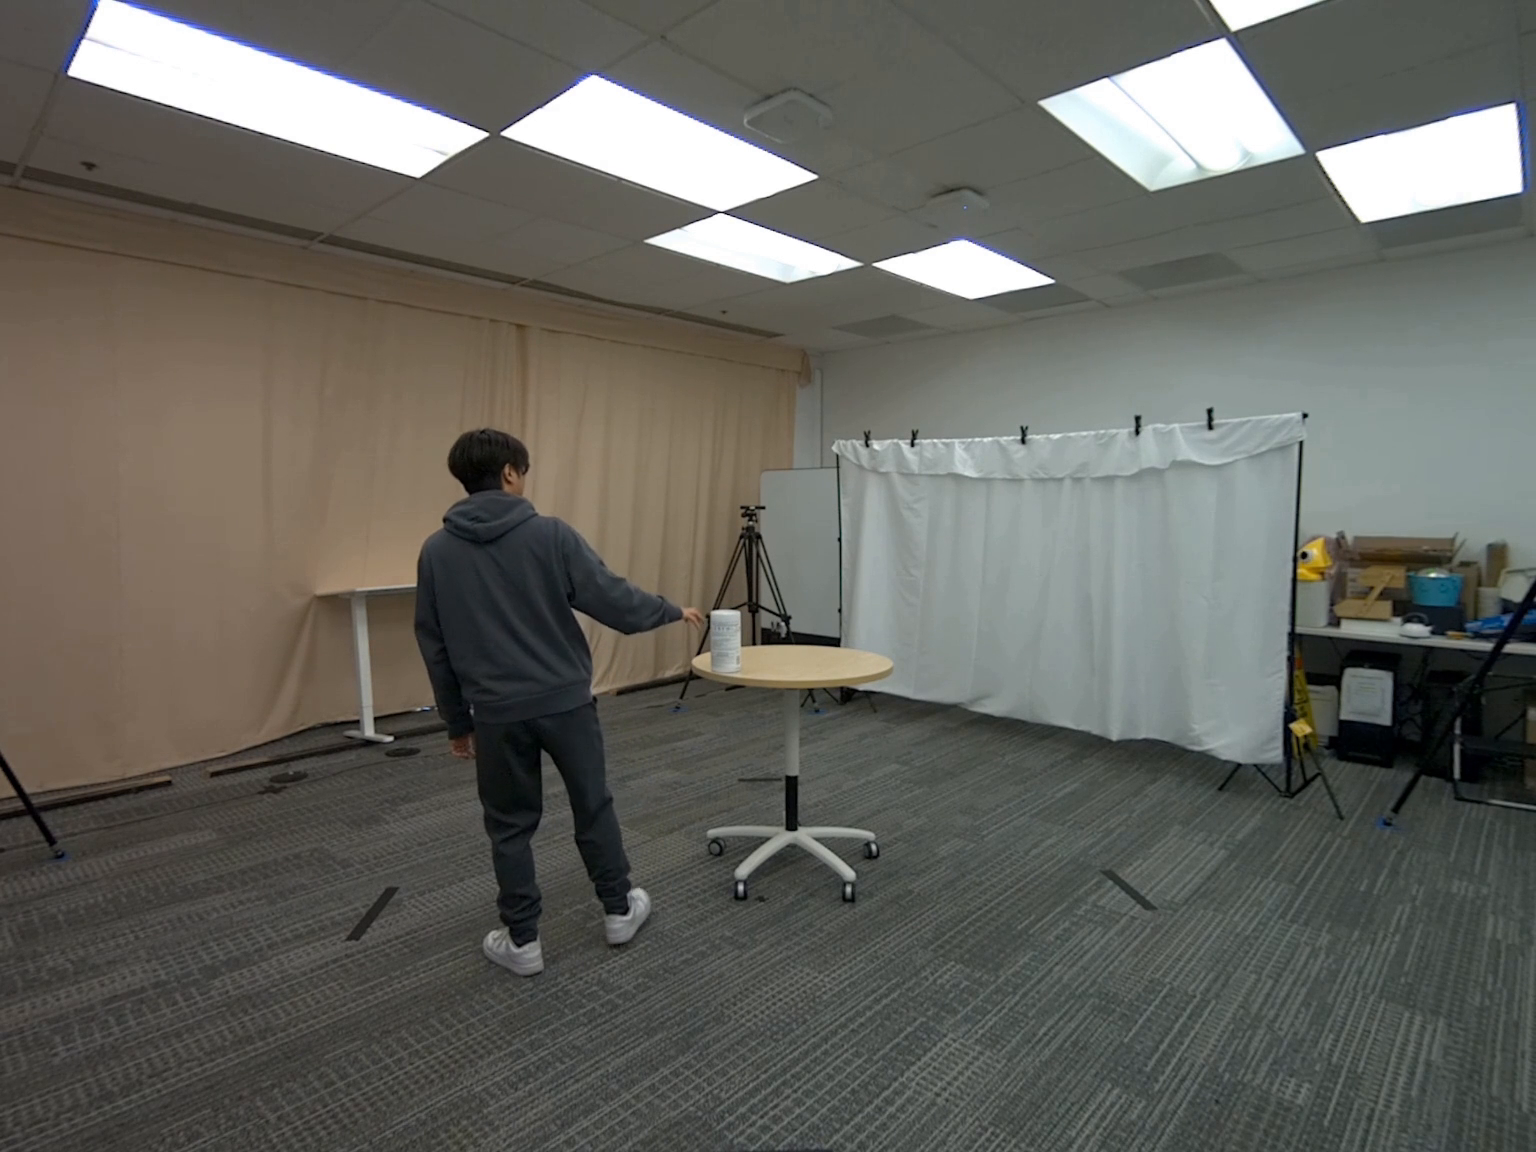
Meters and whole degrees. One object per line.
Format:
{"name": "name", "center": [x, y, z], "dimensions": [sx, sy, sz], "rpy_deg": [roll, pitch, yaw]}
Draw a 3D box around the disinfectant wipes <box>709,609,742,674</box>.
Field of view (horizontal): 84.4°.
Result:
{"name": "disinfectant wipes", "center": [-0.149, 0.238, 3.032], "dimensions": [0.118, 0.217, 0.118], "rpy_deg": [-1, 4, -2]}
